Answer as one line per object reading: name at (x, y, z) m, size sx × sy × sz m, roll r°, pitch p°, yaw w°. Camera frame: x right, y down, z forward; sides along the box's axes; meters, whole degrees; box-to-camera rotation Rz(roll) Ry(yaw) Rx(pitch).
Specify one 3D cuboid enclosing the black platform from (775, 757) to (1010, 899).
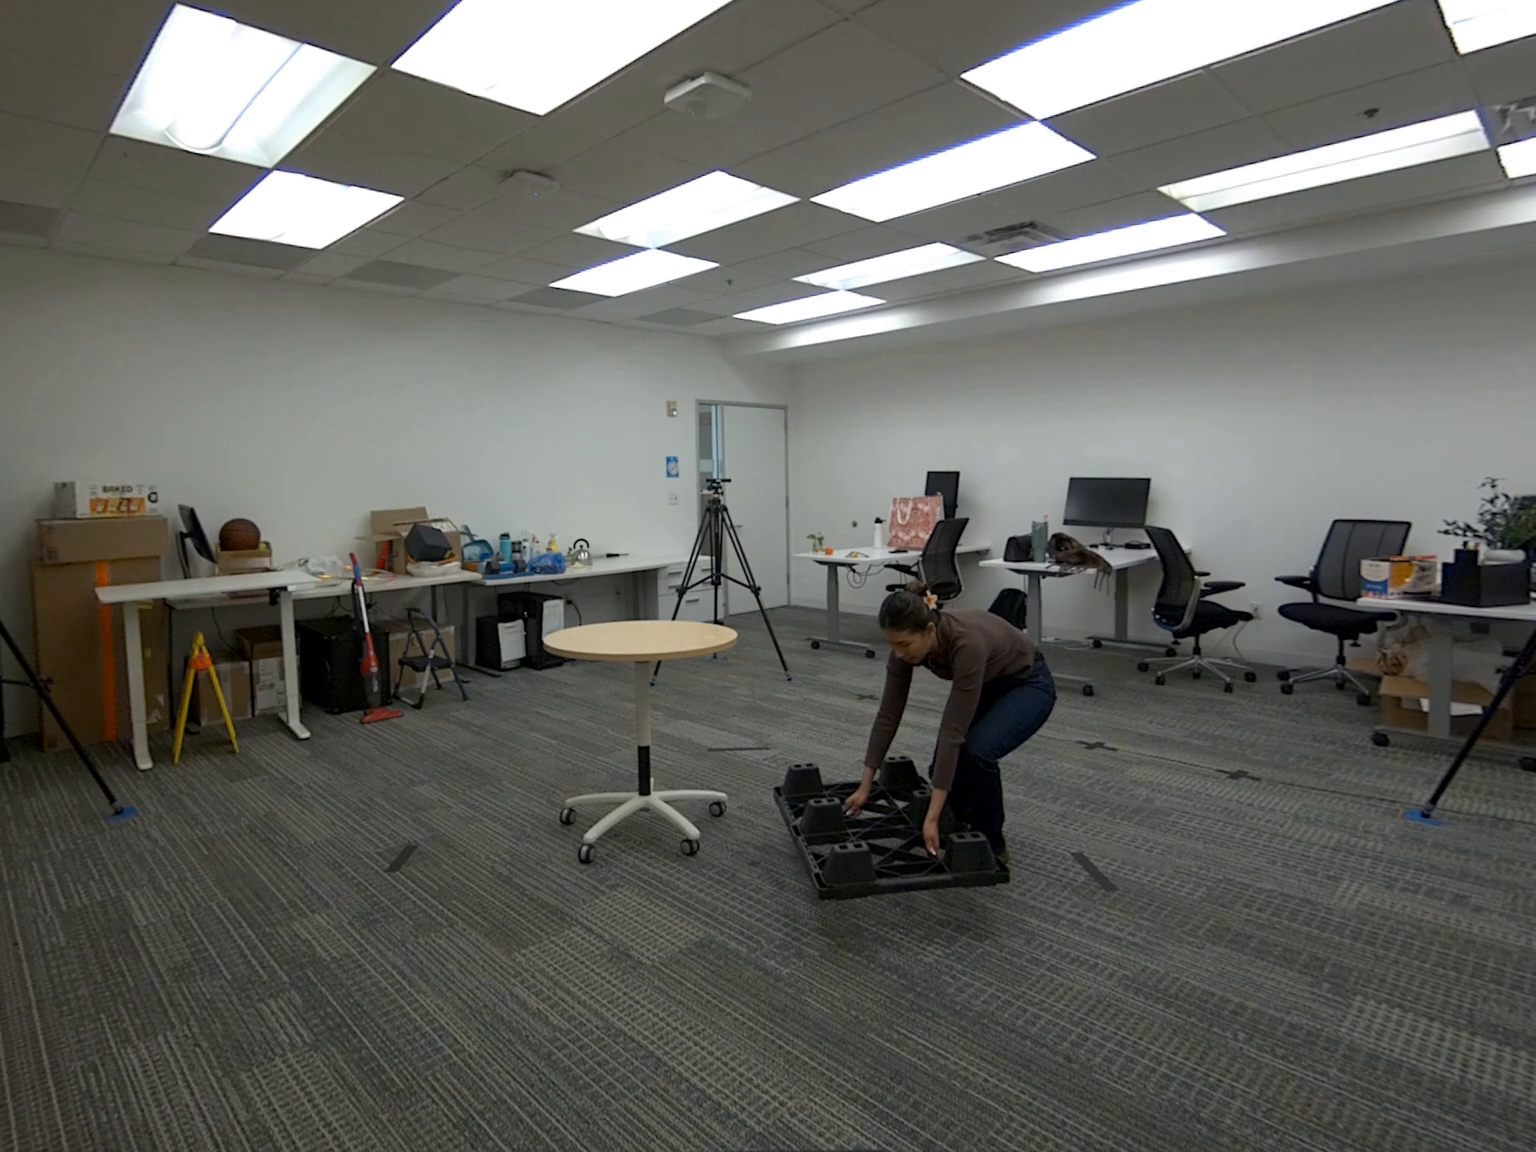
black platform at (0.383, 0.828, 2.935) m, size 0.601 × 0.142 × 0.816 m, roll -3°, pitch 8°, yaw -8°
